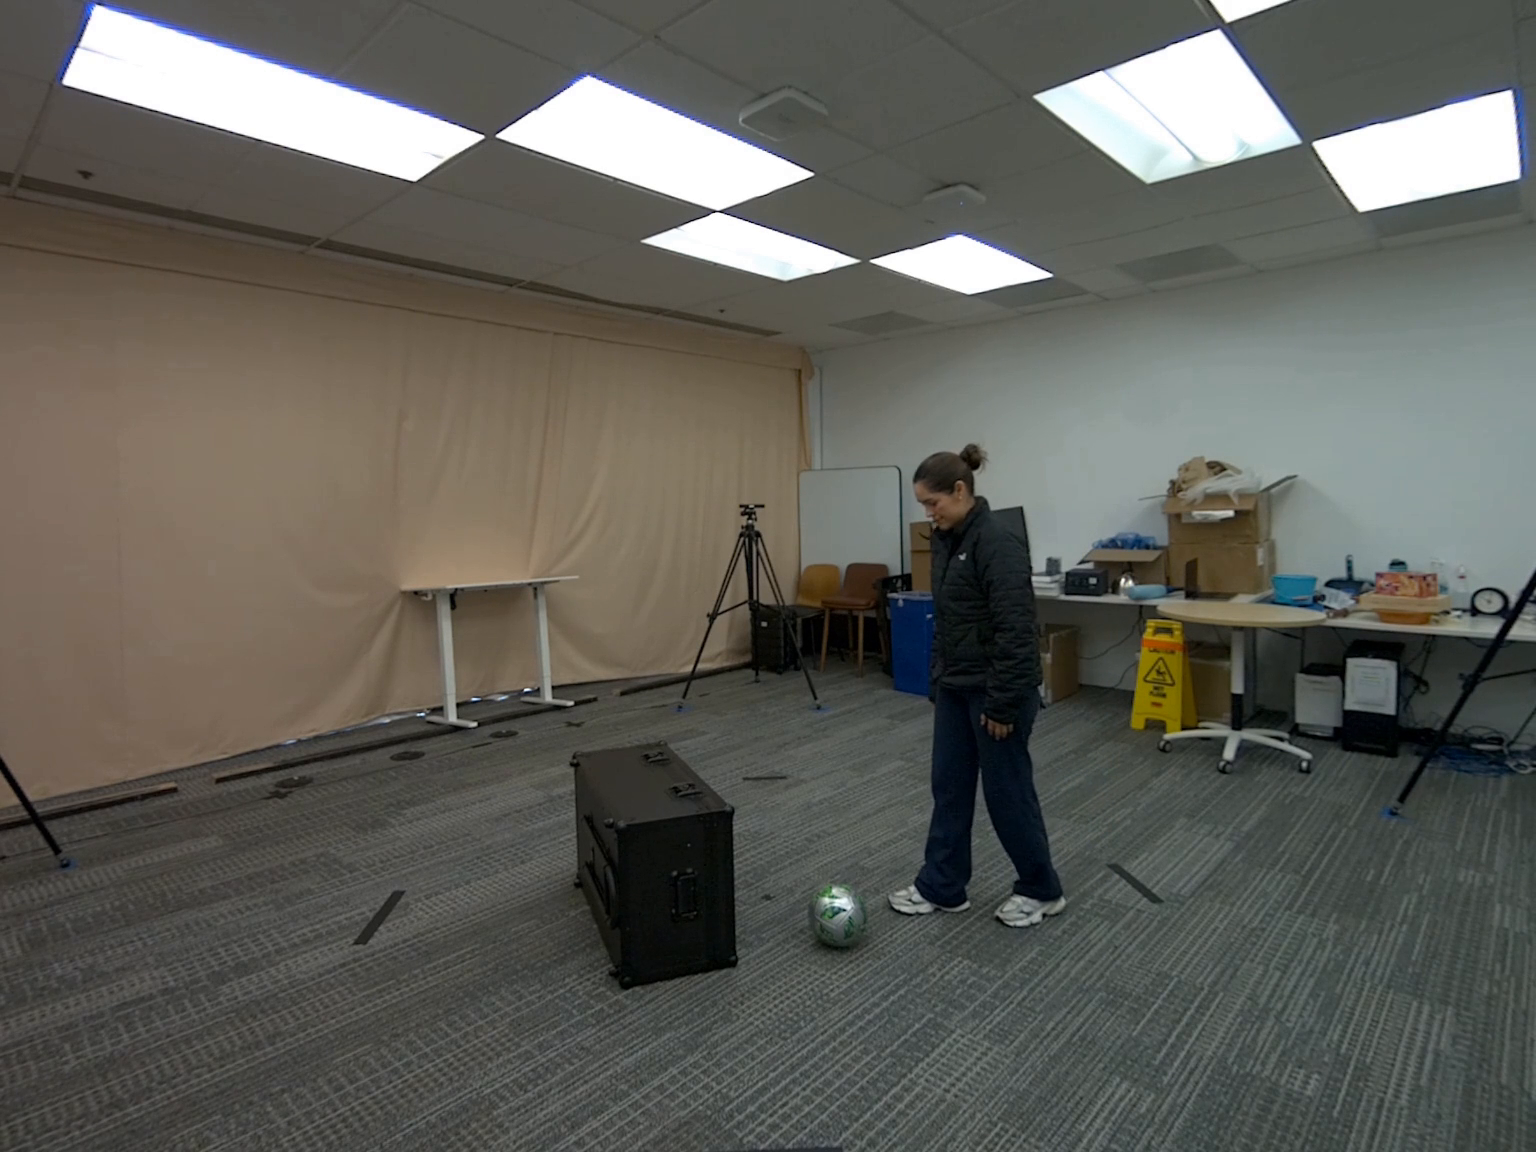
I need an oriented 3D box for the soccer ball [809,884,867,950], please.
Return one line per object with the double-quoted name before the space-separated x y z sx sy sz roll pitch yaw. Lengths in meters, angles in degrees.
"soccer ball" 0.228 1.079 2.655 0.187 0.187 0.188 -1 4 -2
